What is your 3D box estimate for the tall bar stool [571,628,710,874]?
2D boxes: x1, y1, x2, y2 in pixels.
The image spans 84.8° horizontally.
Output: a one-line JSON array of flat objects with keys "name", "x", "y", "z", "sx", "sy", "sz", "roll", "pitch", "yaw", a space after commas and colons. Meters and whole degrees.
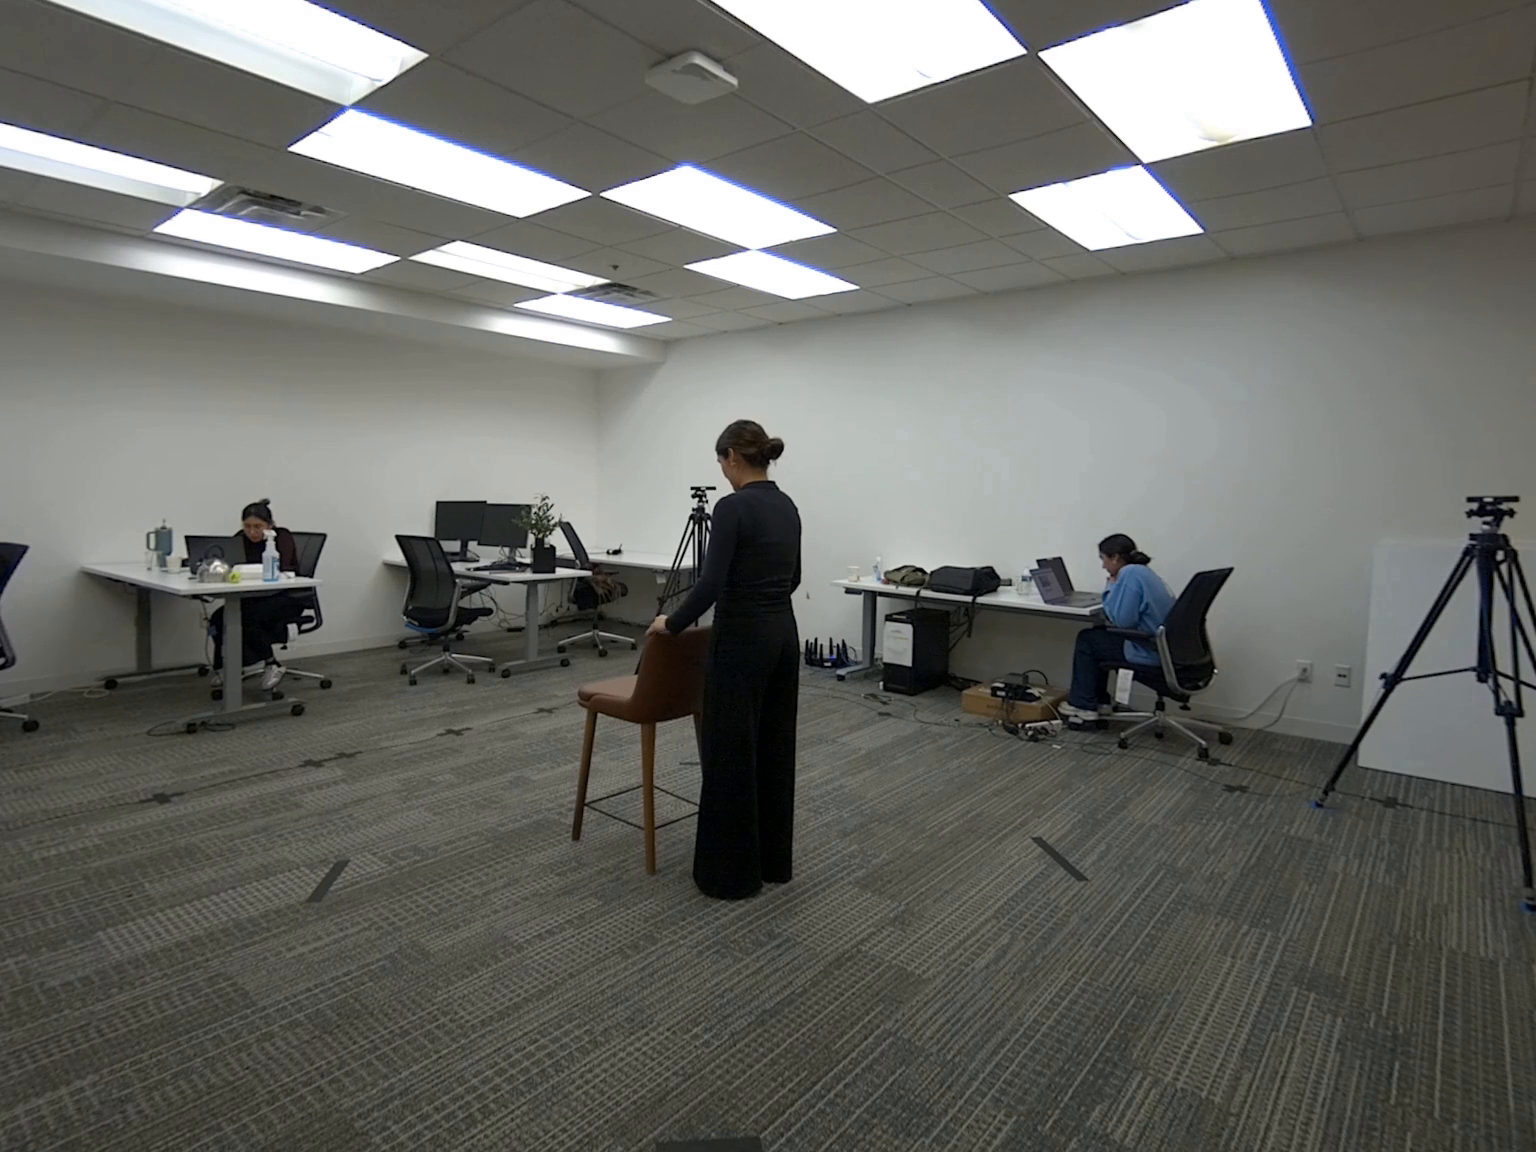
[{"name": "tall bar stool", "x": -0.467, "y": 0.603, "z": 3.303, "sx": 0.484, "sy": 0.886, "sz": 0.442, "roll": 7, "pitch": 6, "yaw": 42}]
